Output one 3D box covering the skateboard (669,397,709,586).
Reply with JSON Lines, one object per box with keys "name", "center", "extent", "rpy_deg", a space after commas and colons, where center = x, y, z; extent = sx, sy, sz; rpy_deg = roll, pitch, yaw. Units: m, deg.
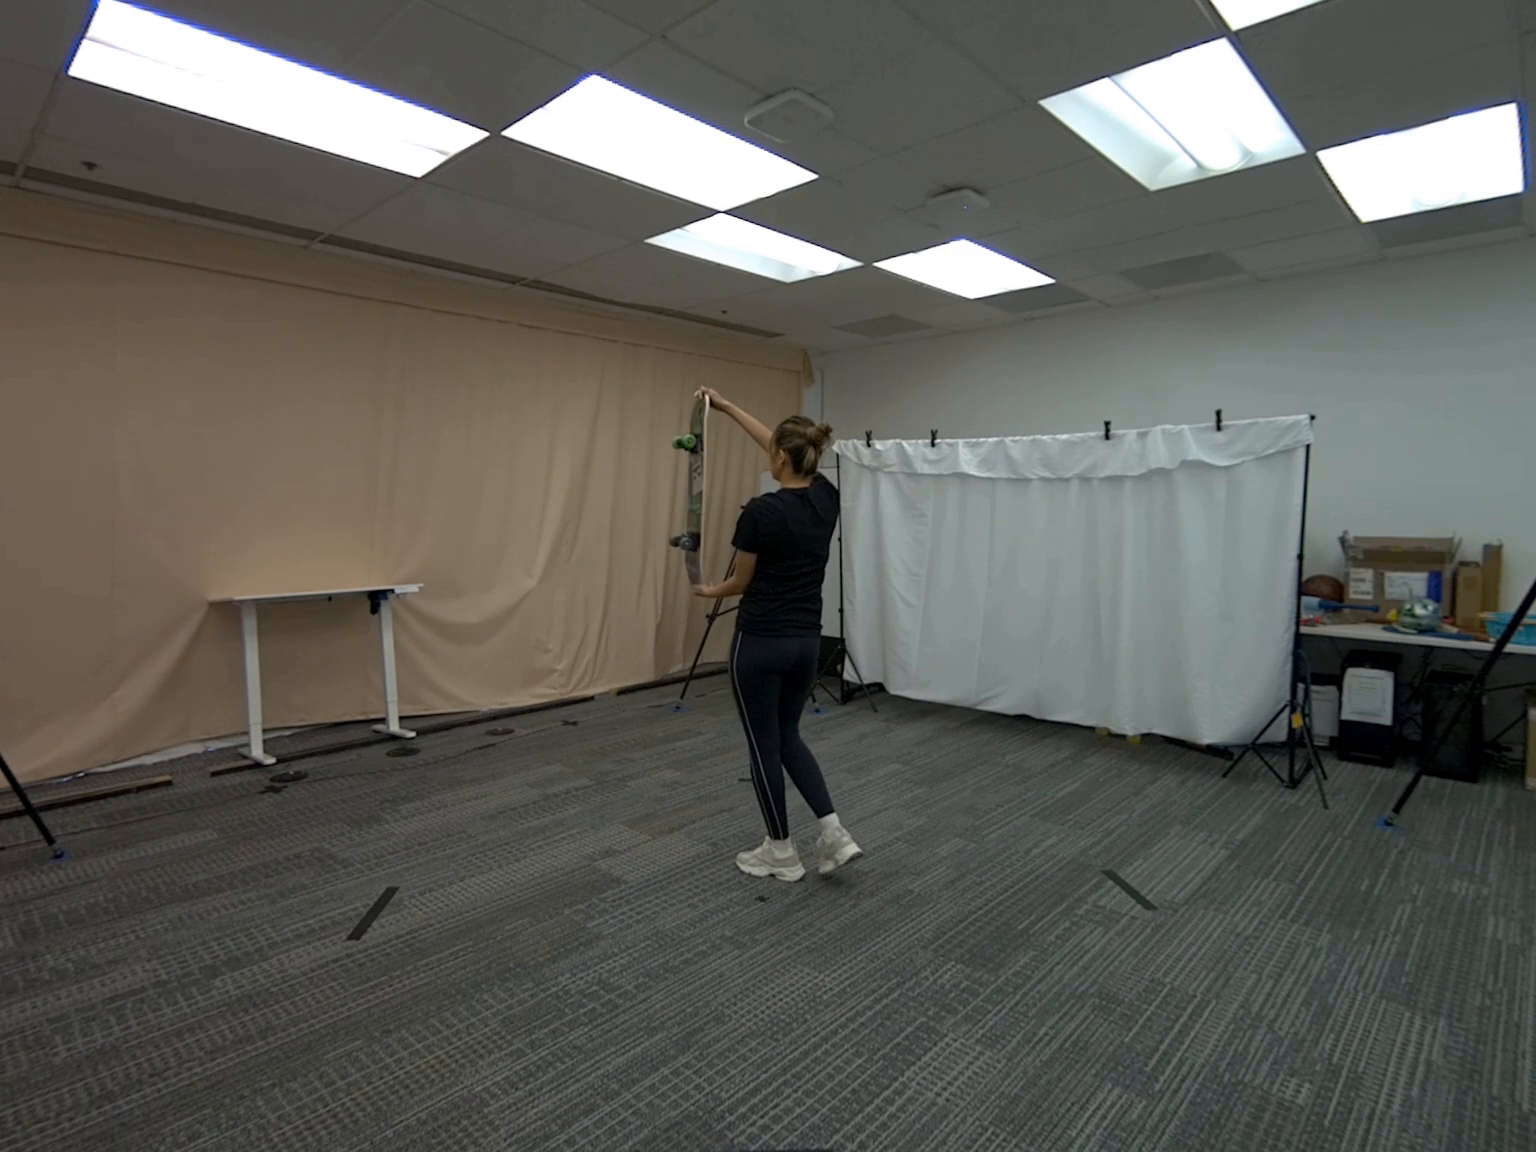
{"name": "skateboard", "center": [-0.313, -0.330, 3.353], "extent": [0.108, 0.784, 0.198], "rpy_deg": [0, 3, -20]}
